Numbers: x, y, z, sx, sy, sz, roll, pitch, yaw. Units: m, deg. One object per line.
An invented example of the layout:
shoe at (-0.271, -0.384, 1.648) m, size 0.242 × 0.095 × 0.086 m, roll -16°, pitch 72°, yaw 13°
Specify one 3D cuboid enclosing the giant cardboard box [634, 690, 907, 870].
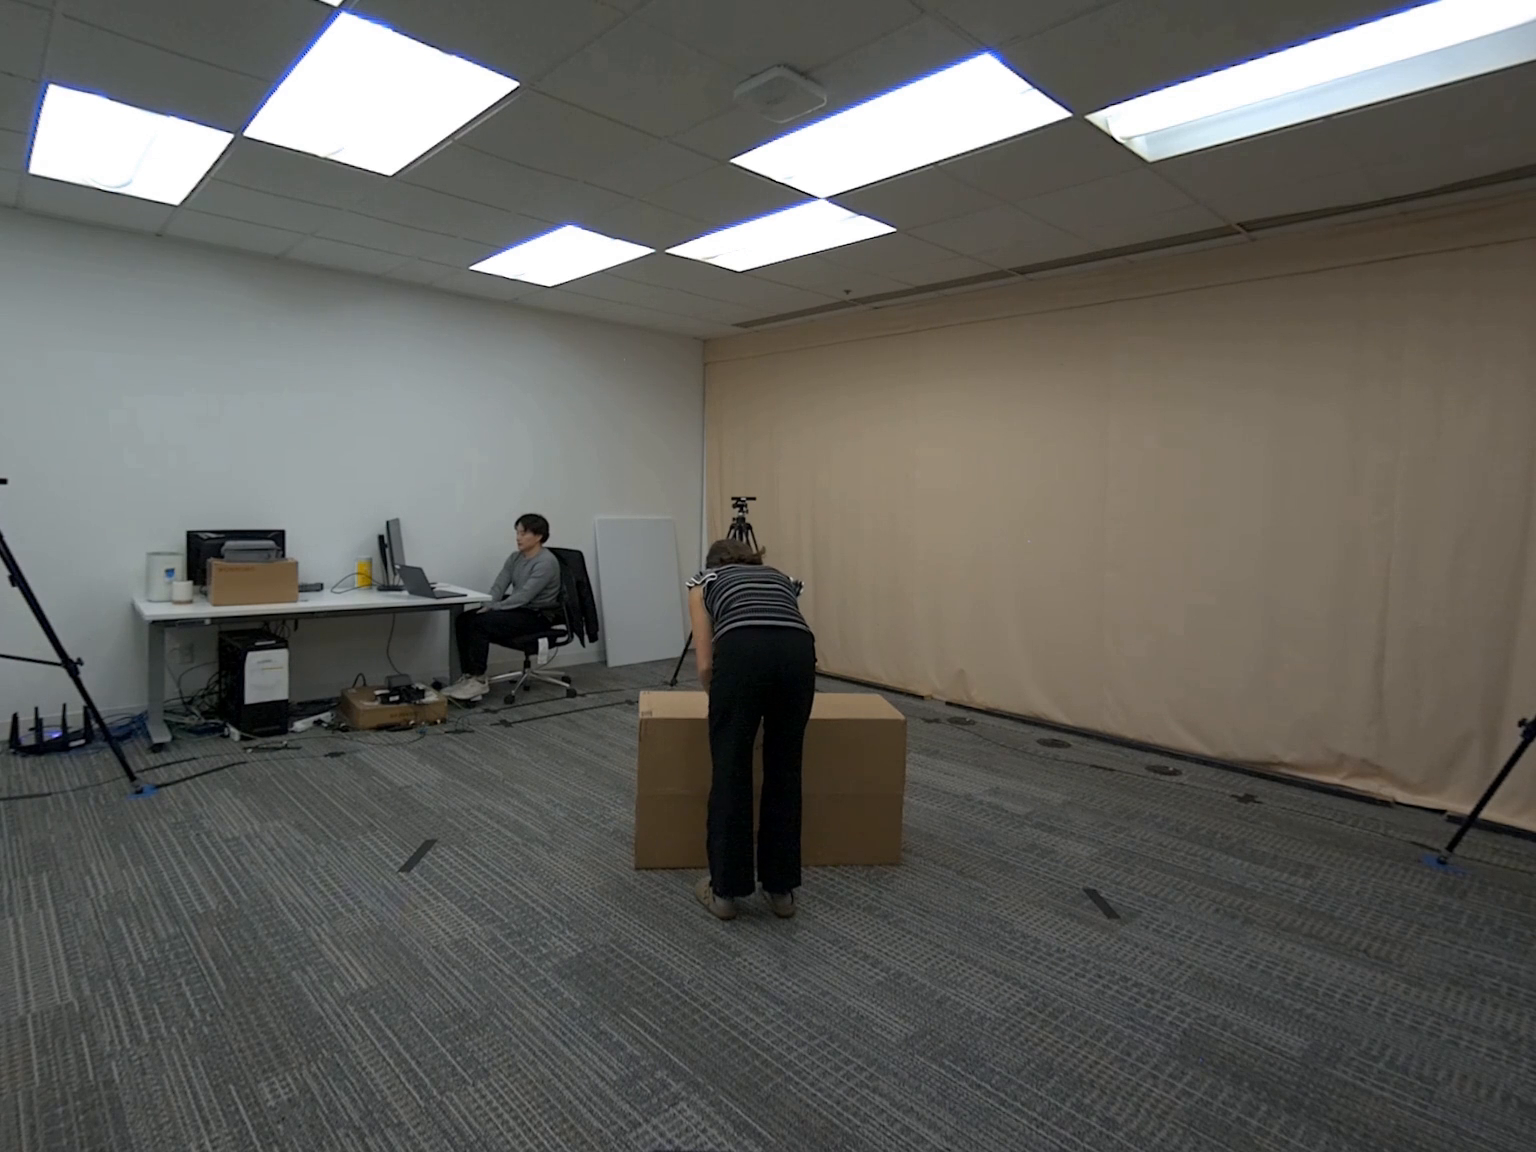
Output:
giant cardboard box at (-0.017, 0.793, 3.380) m, size 1.021 × 0.576 × 0.429 m, roll 1°, pitch 3°, yaw -6°
